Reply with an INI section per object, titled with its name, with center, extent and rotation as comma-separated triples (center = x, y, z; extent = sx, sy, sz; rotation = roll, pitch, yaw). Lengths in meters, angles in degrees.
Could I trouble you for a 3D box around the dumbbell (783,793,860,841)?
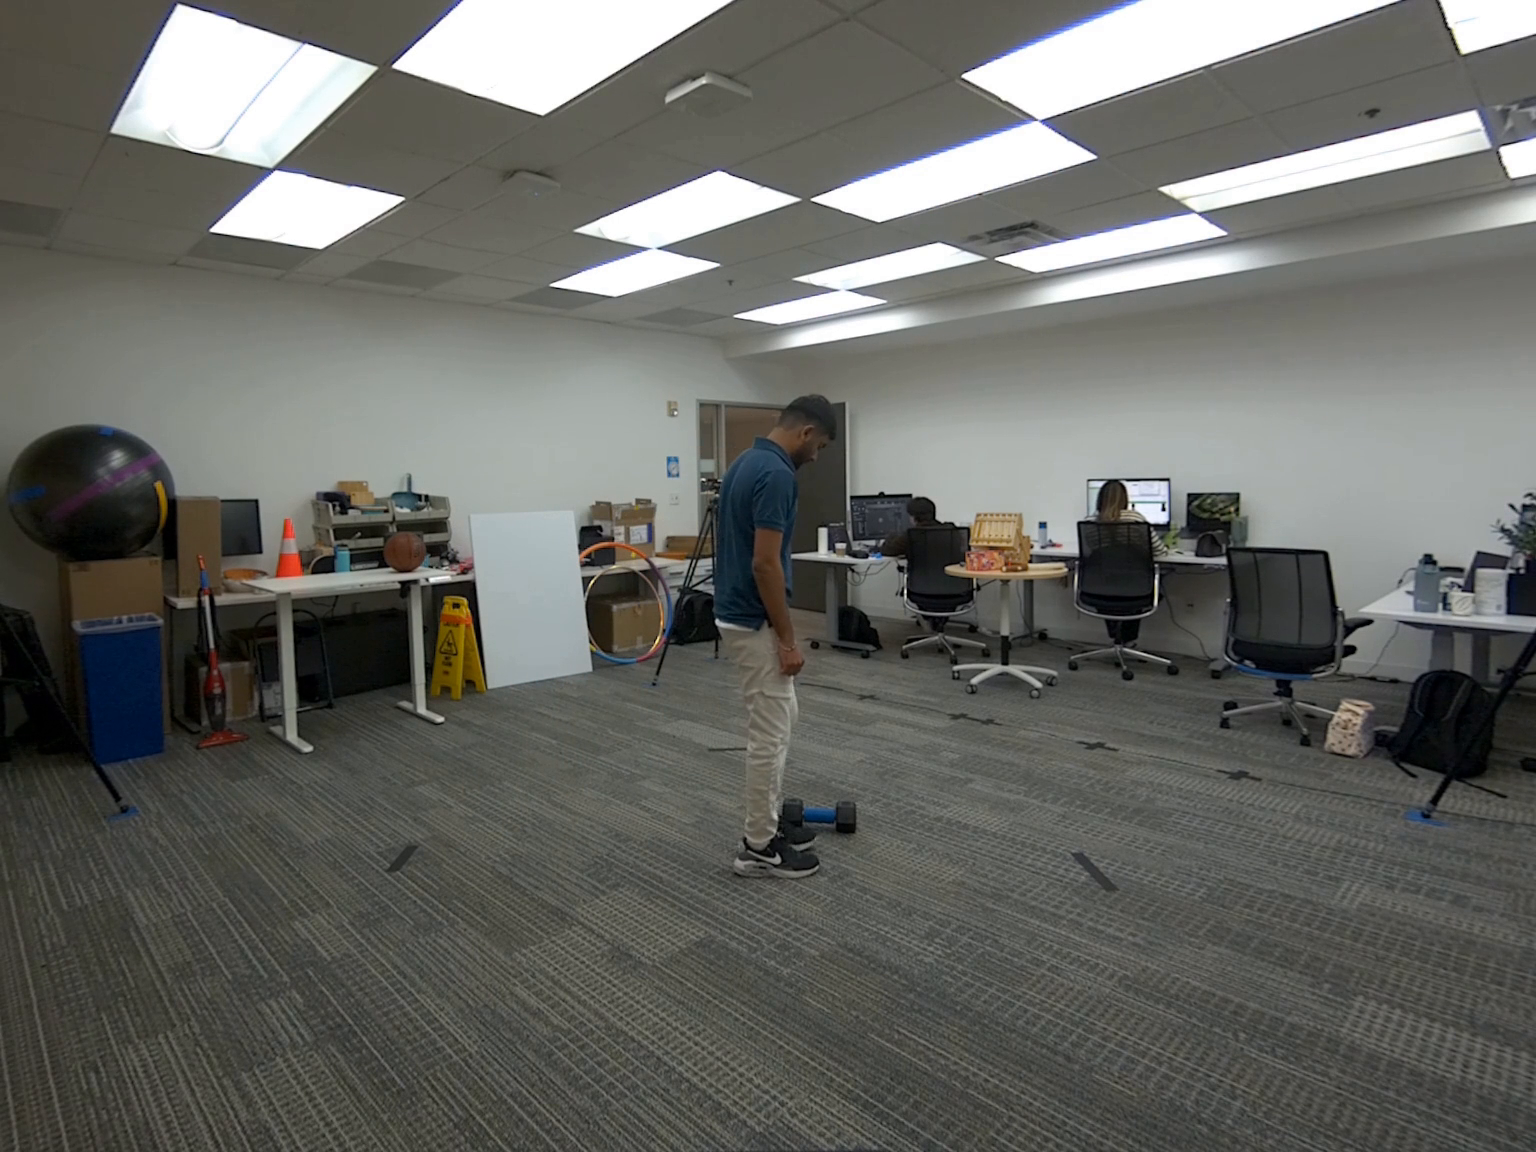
[dumbbell]
center = 0.211, 0.954, 3.401
extent = 0.296, 0.119, 0.110
rotation = 1, 34, 9
